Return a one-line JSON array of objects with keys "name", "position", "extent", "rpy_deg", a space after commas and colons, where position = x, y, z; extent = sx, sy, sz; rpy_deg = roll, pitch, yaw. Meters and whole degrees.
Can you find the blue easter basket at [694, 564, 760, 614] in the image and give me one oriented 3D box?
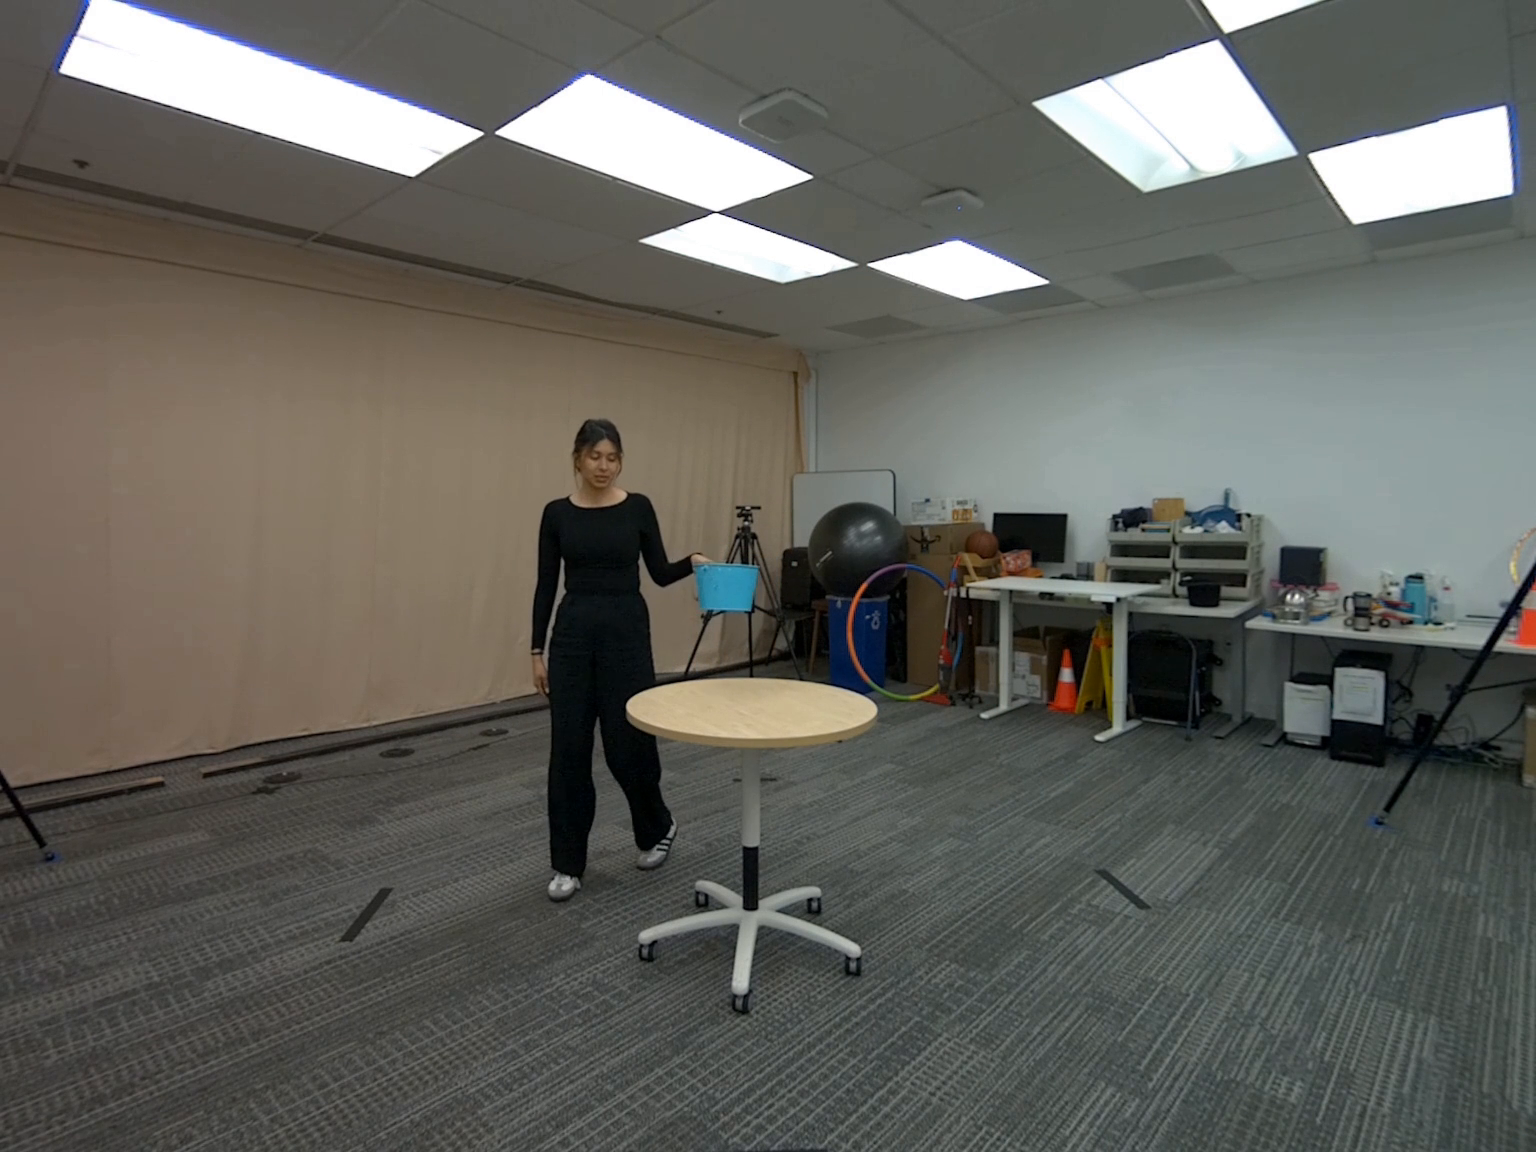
[{"name": "blue easter basket", "position": [-0.142, 0.044, 2.923], "extent": [0.243, 0.156, 0.243], "rpy_deg": [2, -2, -2]}]
